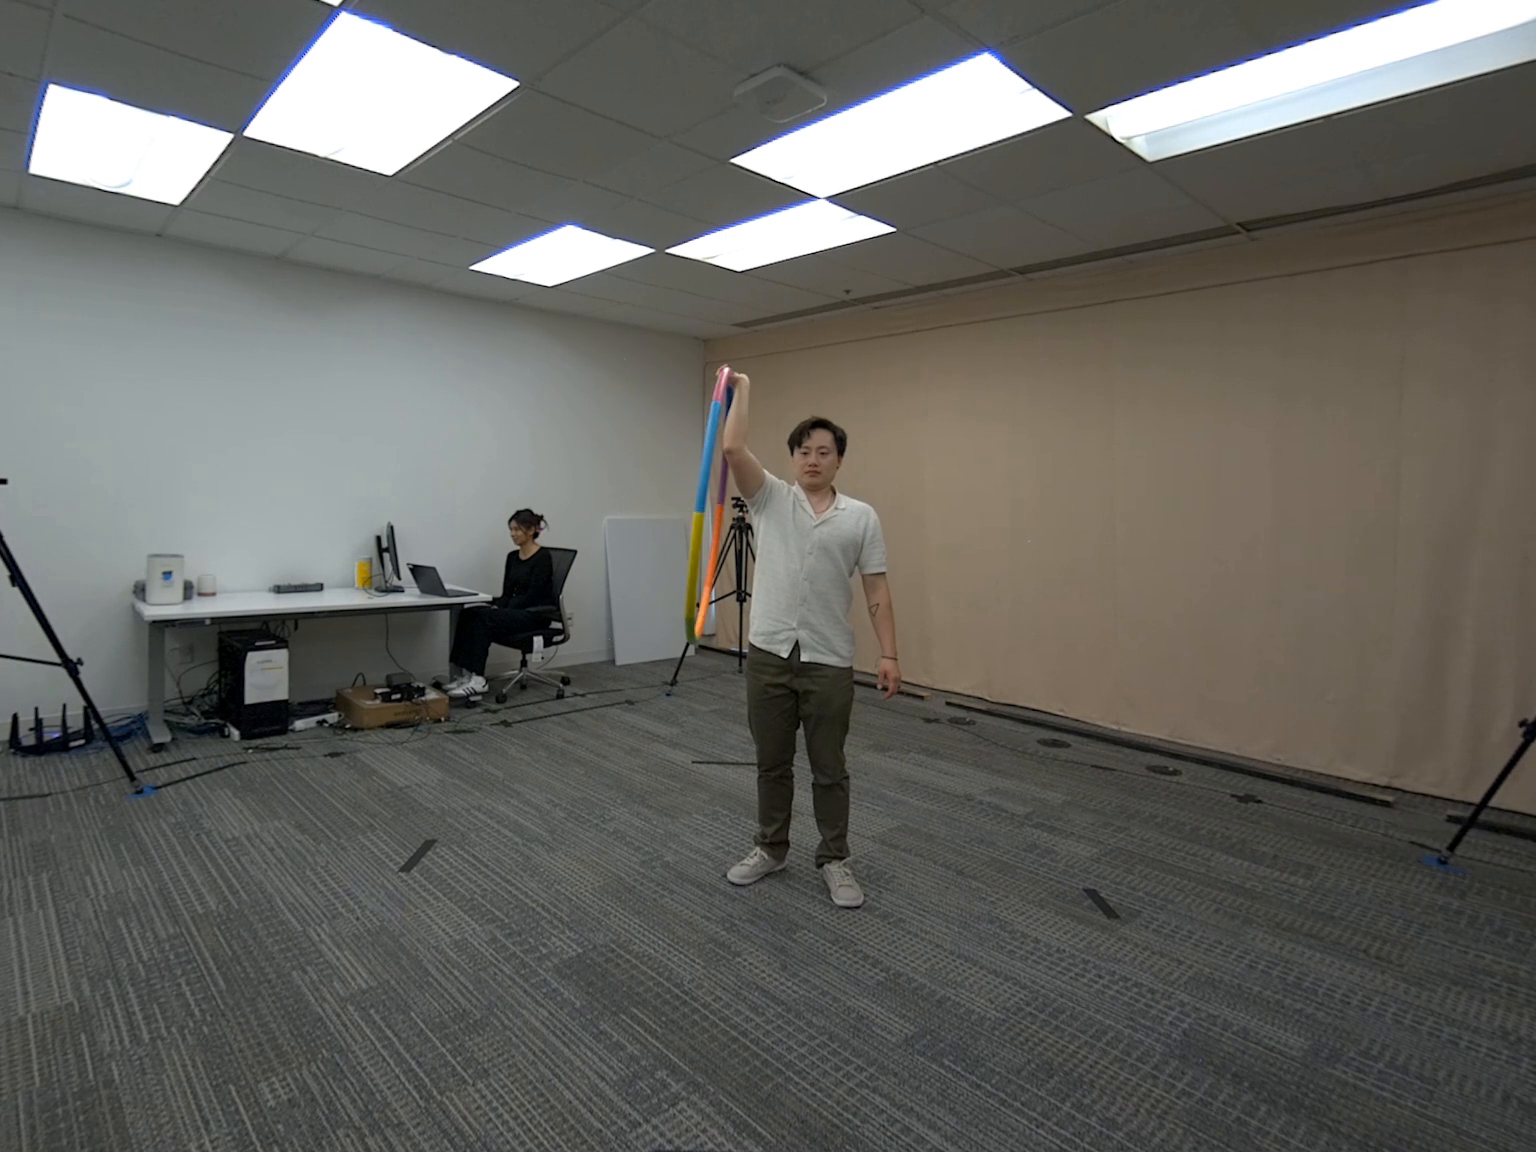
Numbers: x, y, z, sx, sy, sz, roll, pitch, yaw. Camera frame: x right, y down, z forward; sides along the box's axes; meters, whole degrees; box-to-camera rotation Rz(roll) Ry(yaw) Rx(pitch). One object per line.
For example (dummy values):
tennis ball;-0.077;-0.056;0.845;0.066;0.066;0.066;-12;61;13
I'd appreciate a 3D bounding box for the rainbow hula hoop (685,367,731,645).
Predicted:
rainbow hula hoop;-0.196;-0.247;3.015;0.035;0.976;0.981;6;4;-2
